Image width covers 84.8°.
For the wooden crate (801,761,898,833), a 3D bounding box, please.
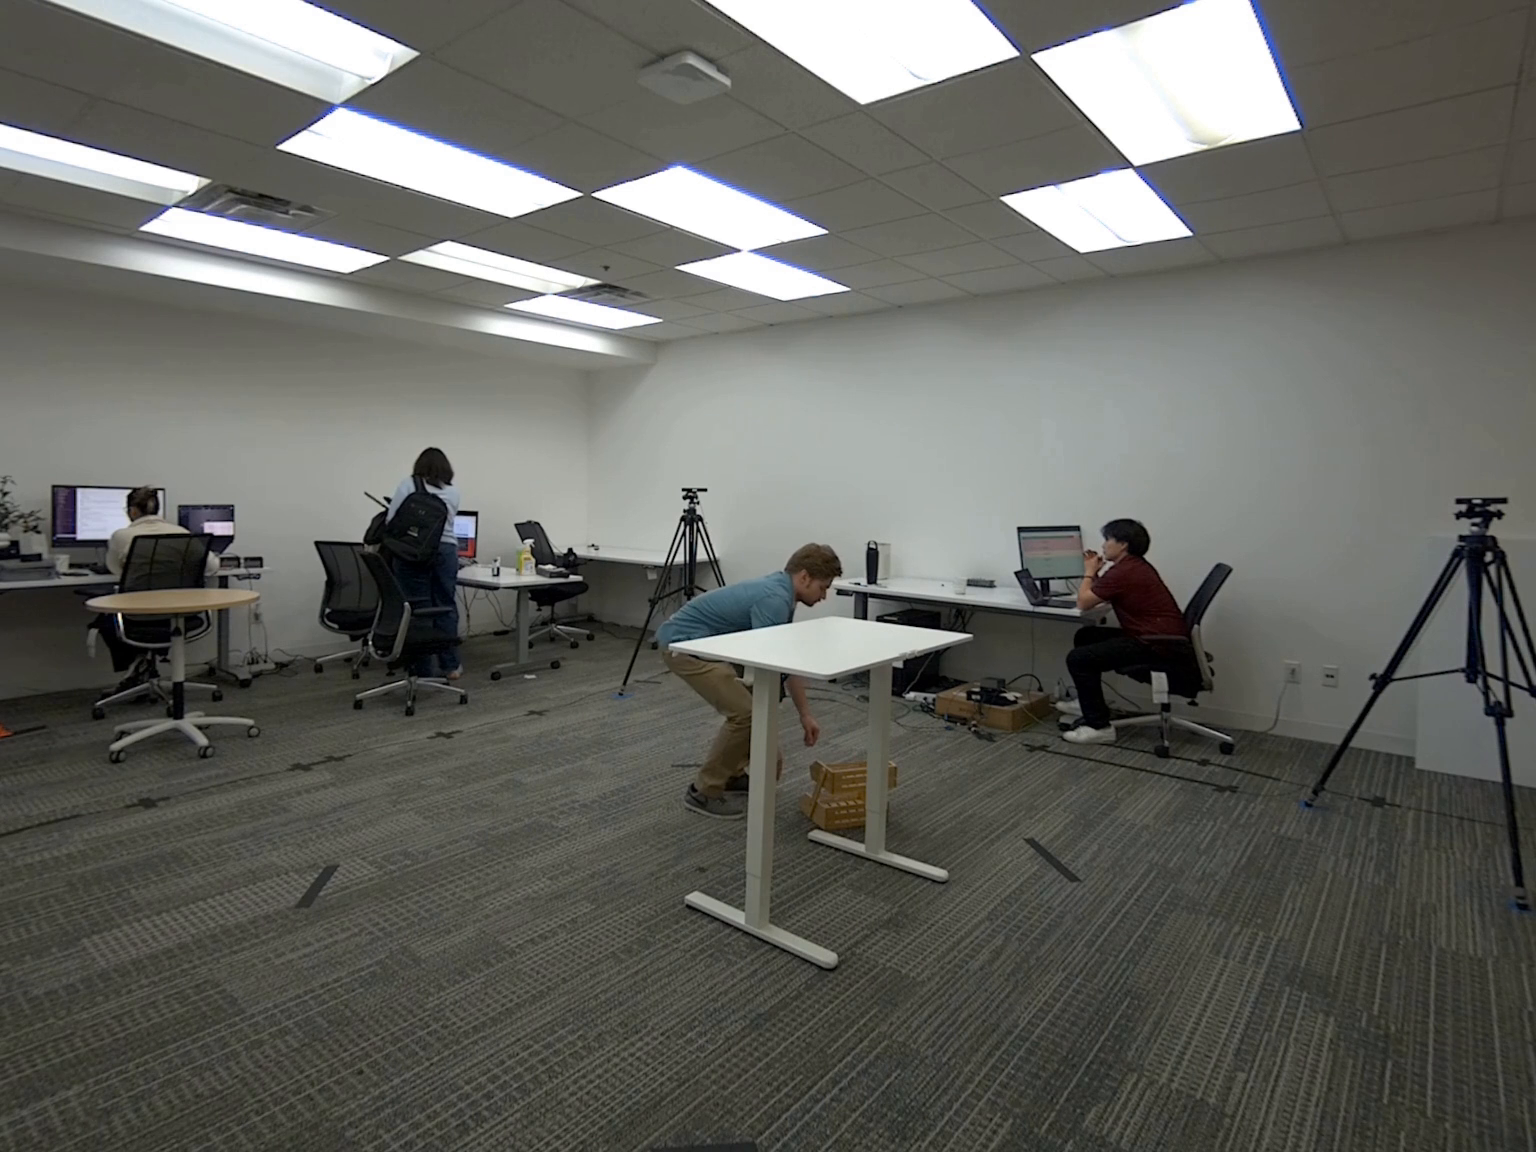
[{"bbox_3d":[0.325,0.892,3.634,0.318,0.272,0.310,-1,5,-22],"label":"wooden crate"}]
